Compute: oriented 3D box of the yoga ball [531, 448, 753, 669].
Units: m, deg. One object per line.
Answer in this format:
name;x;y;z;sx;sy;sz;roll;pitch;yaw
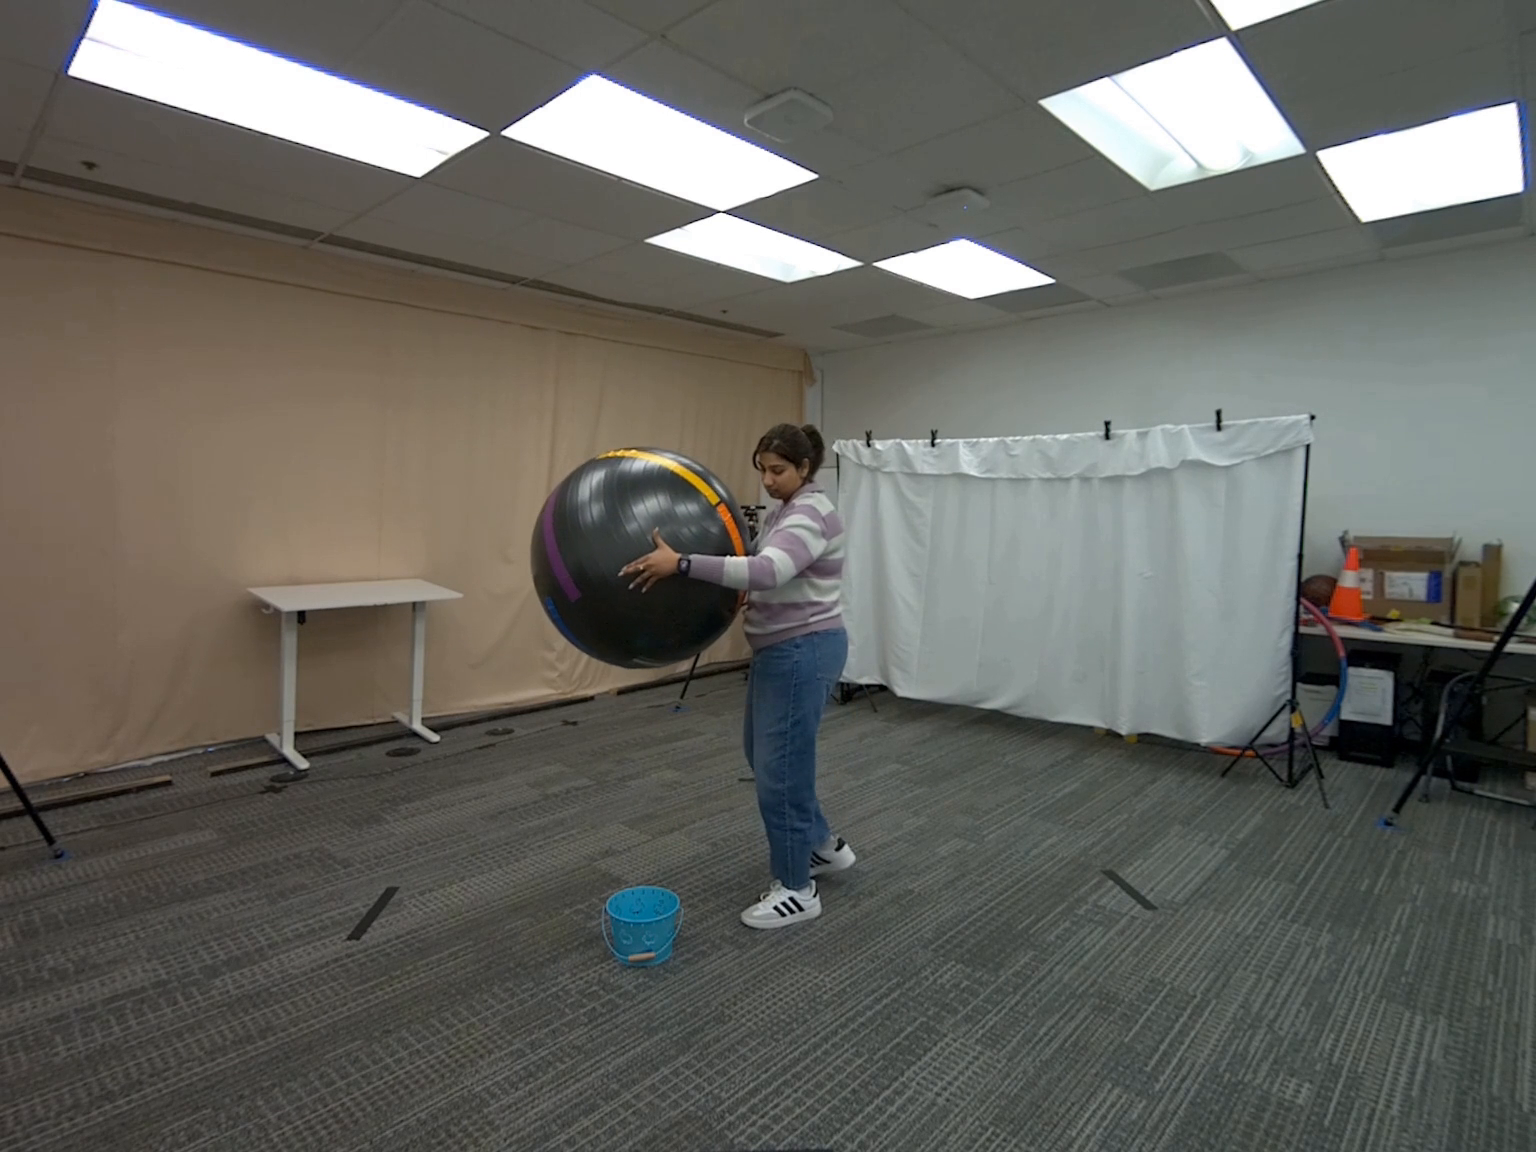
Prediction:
yoga ball;-0.432;-0.054;2.914;0.757;0.756;0.761;0;4;-2
